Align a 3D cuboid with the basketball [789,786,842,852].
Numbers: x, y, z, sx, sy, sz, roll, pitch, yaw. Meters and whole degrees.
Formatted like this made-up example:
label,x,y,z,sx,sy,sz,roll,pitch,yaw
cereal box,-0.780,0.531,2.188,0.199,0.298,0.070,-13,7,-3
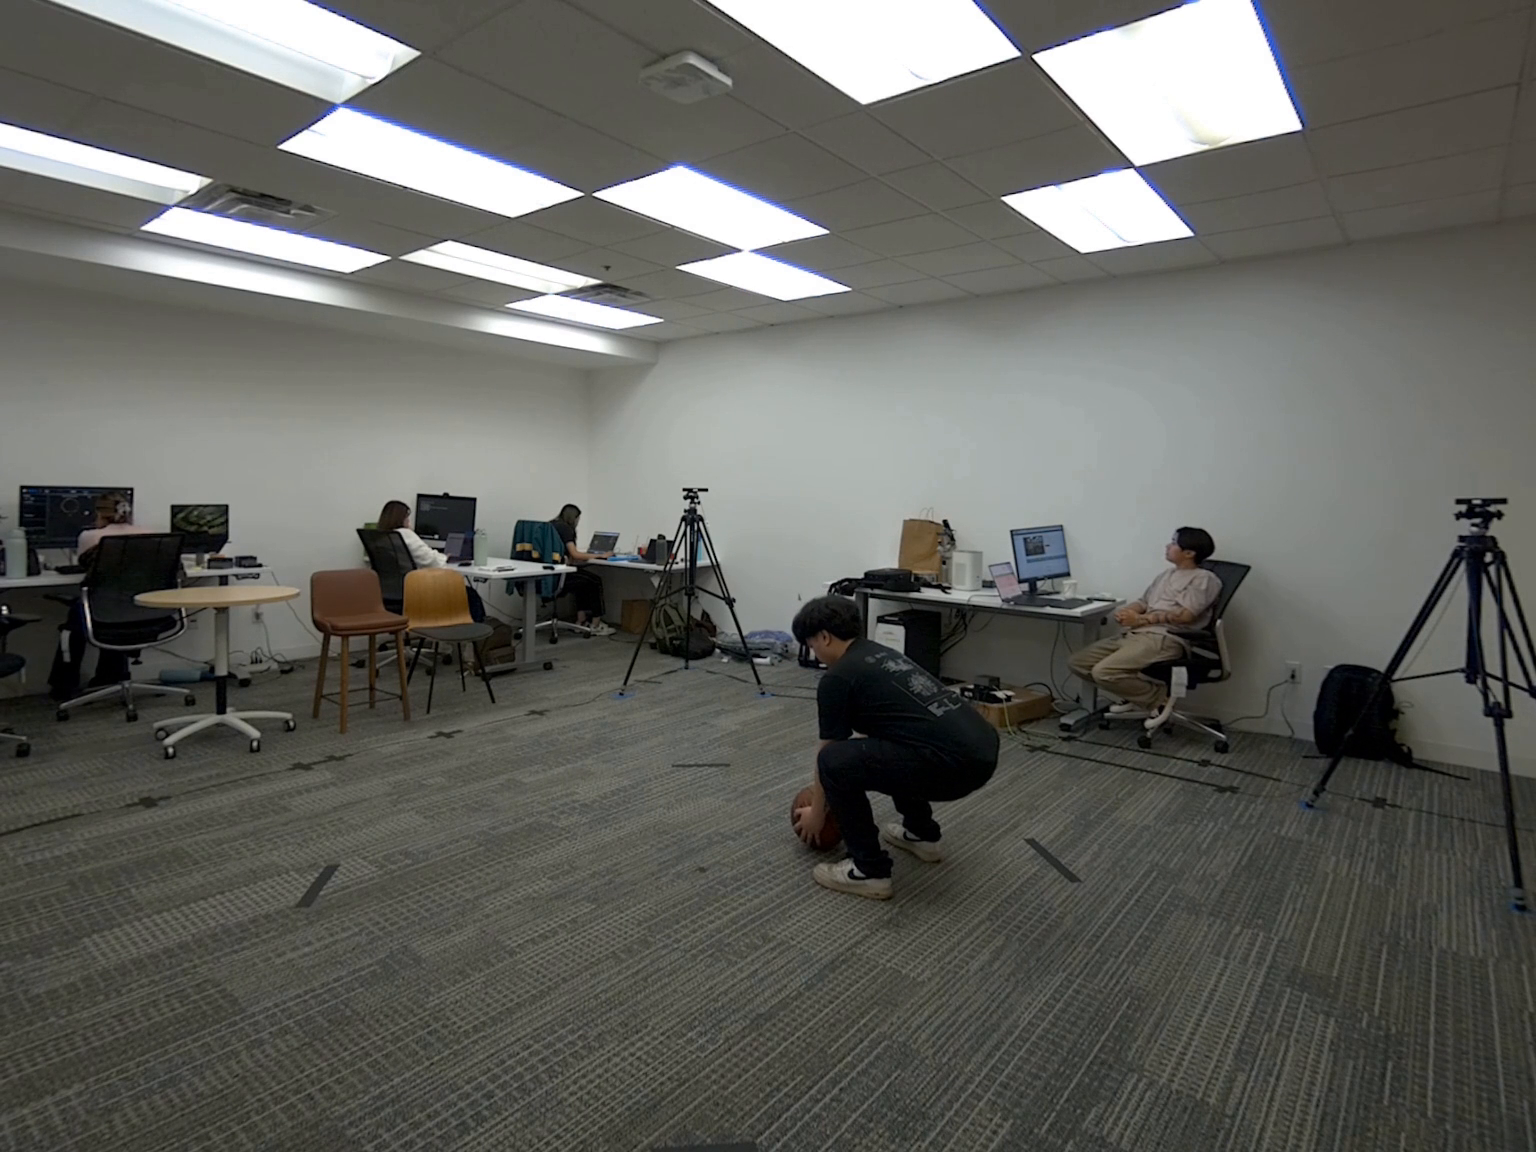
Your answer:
label,x,y,z,sx,sy,sz,roll,pitch,yaw
basketball,0.202,0.937,3.347,0.235,0.235,0.237,1,4,-2
